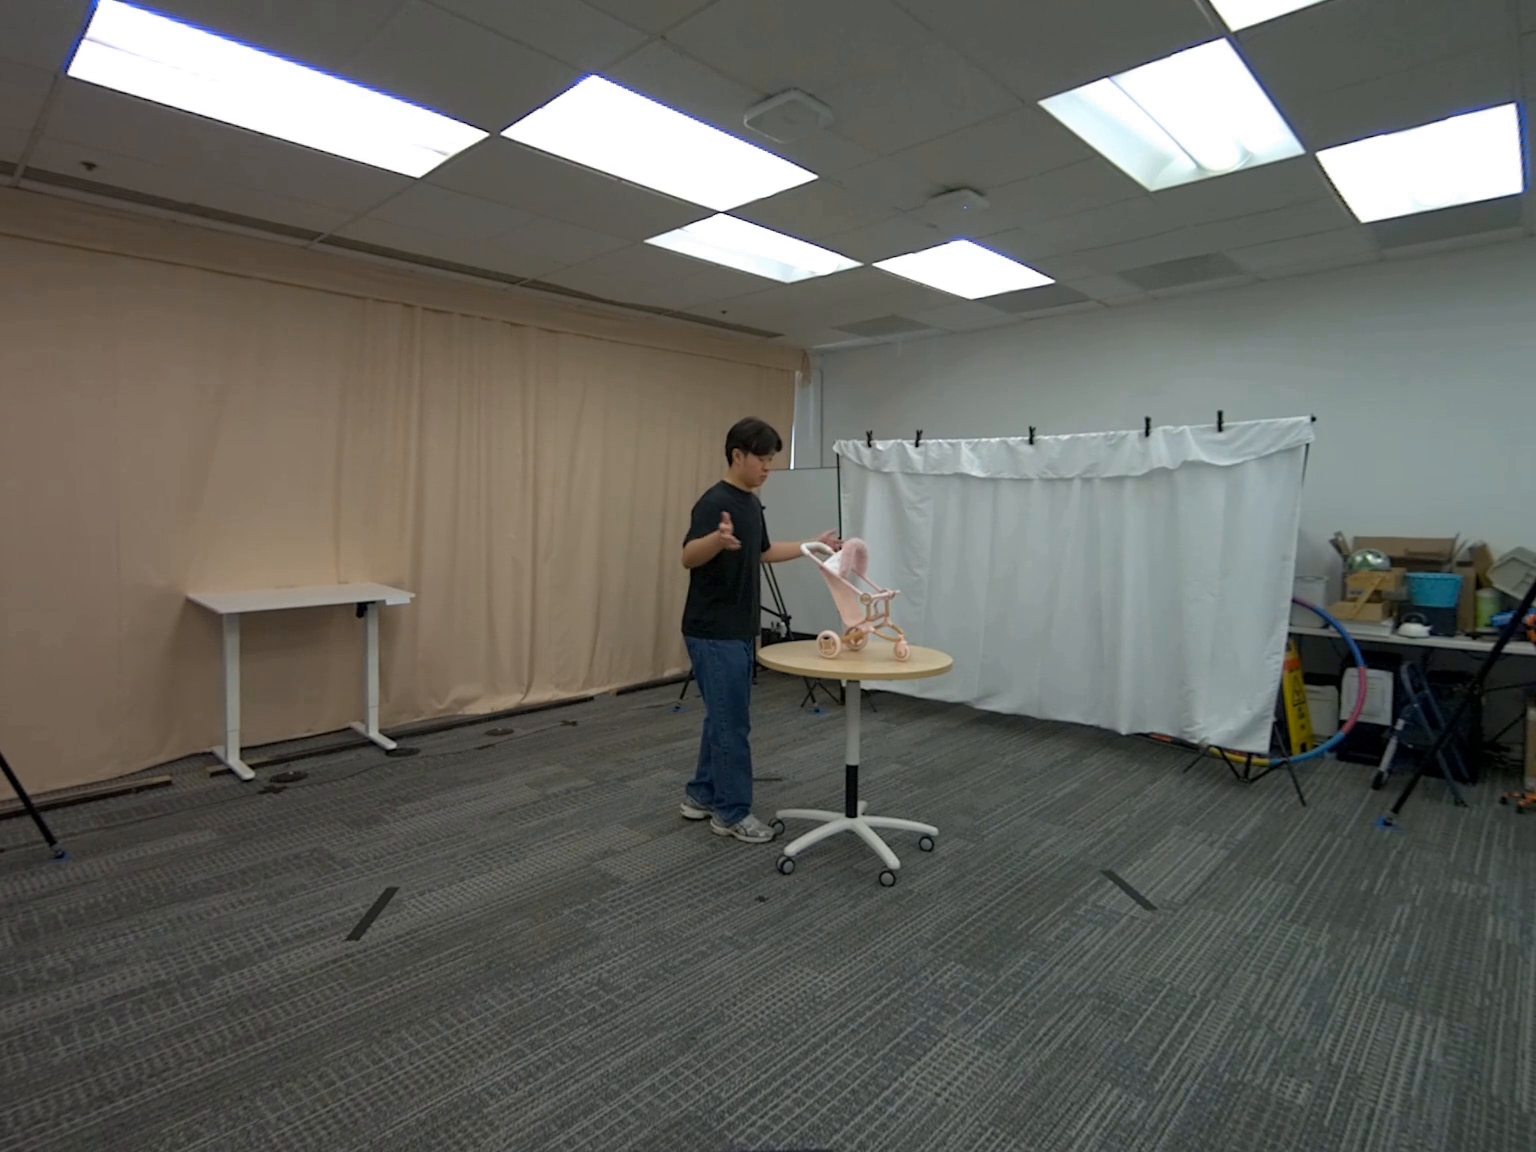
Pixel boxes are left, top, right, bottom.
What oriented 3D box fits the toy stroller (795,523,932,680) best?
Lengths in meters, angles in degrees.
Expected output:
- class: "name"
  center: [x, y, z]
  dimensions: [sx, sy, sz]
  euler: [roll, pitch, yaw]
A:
- class: "toy stroller"
  center: [0.364, 0.094, 3.315]
  dimensions: [0.350, 0.537, 0.273]
  euler: [-15, -6, 36]
